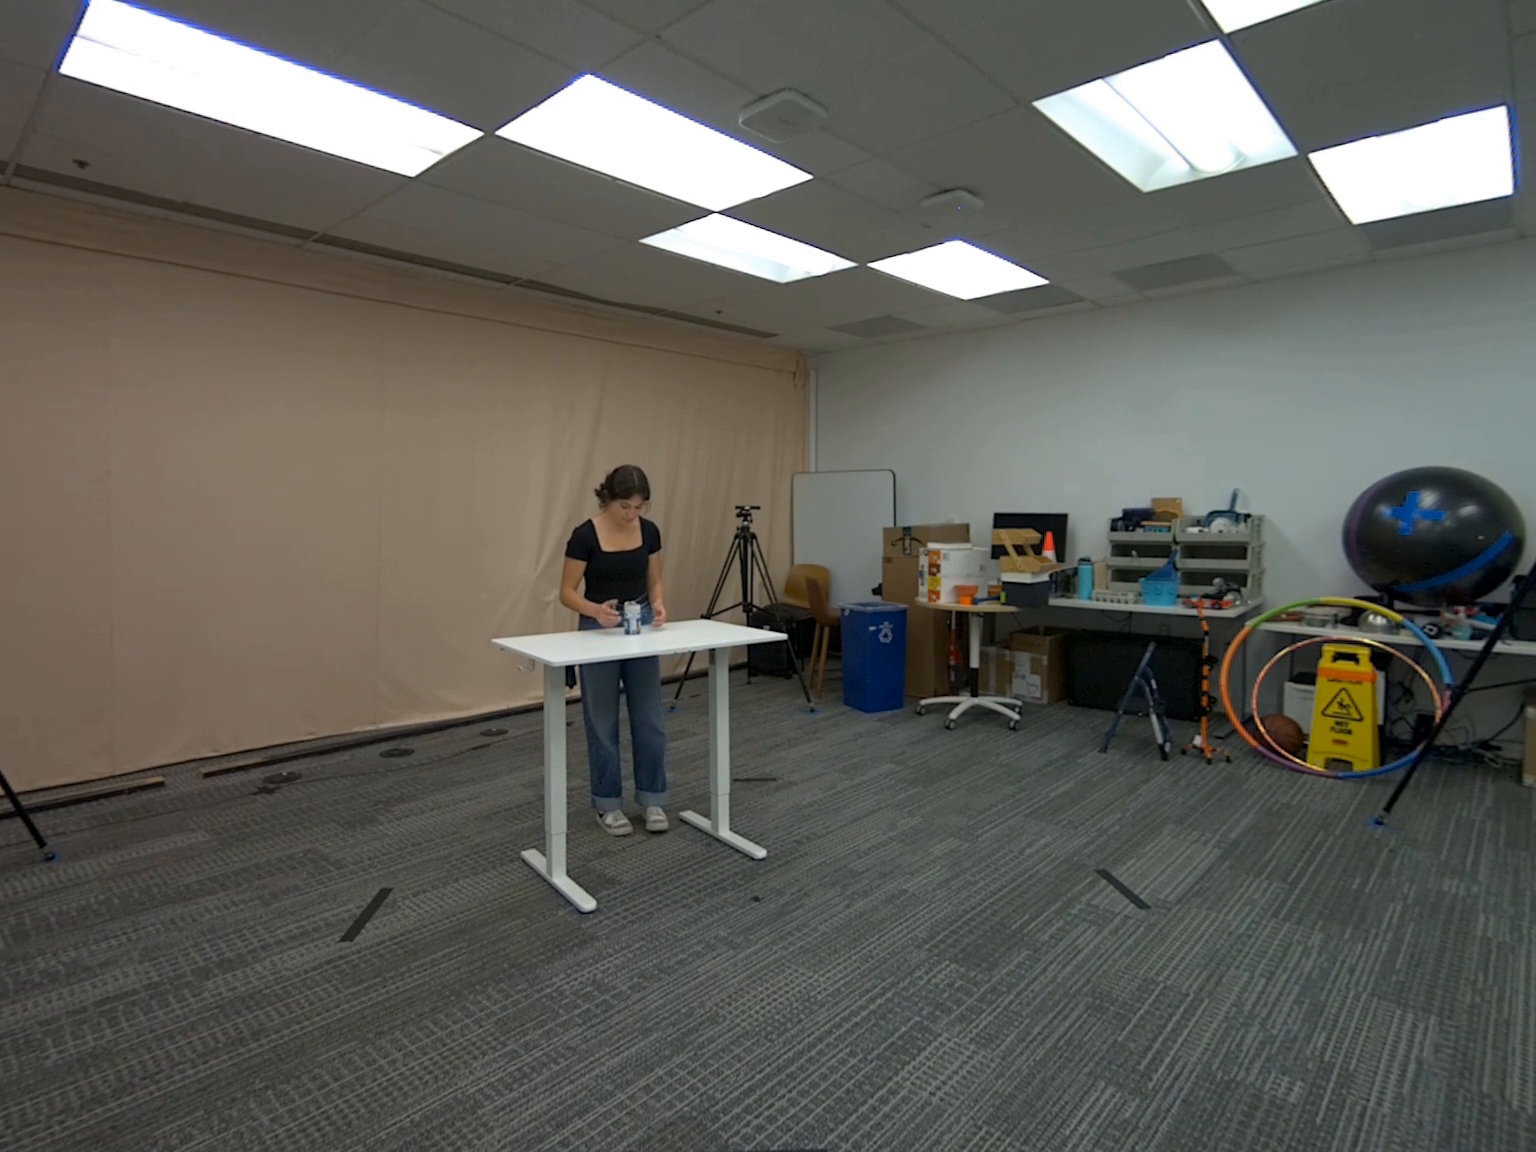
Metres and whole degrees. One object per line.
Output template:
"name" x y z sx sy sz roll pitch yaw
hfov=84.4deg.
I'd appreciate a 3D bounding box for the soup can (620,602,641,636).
"soup can" -0.550 0.175 3.388 0.067 0.121 0.067 1 3 -2
